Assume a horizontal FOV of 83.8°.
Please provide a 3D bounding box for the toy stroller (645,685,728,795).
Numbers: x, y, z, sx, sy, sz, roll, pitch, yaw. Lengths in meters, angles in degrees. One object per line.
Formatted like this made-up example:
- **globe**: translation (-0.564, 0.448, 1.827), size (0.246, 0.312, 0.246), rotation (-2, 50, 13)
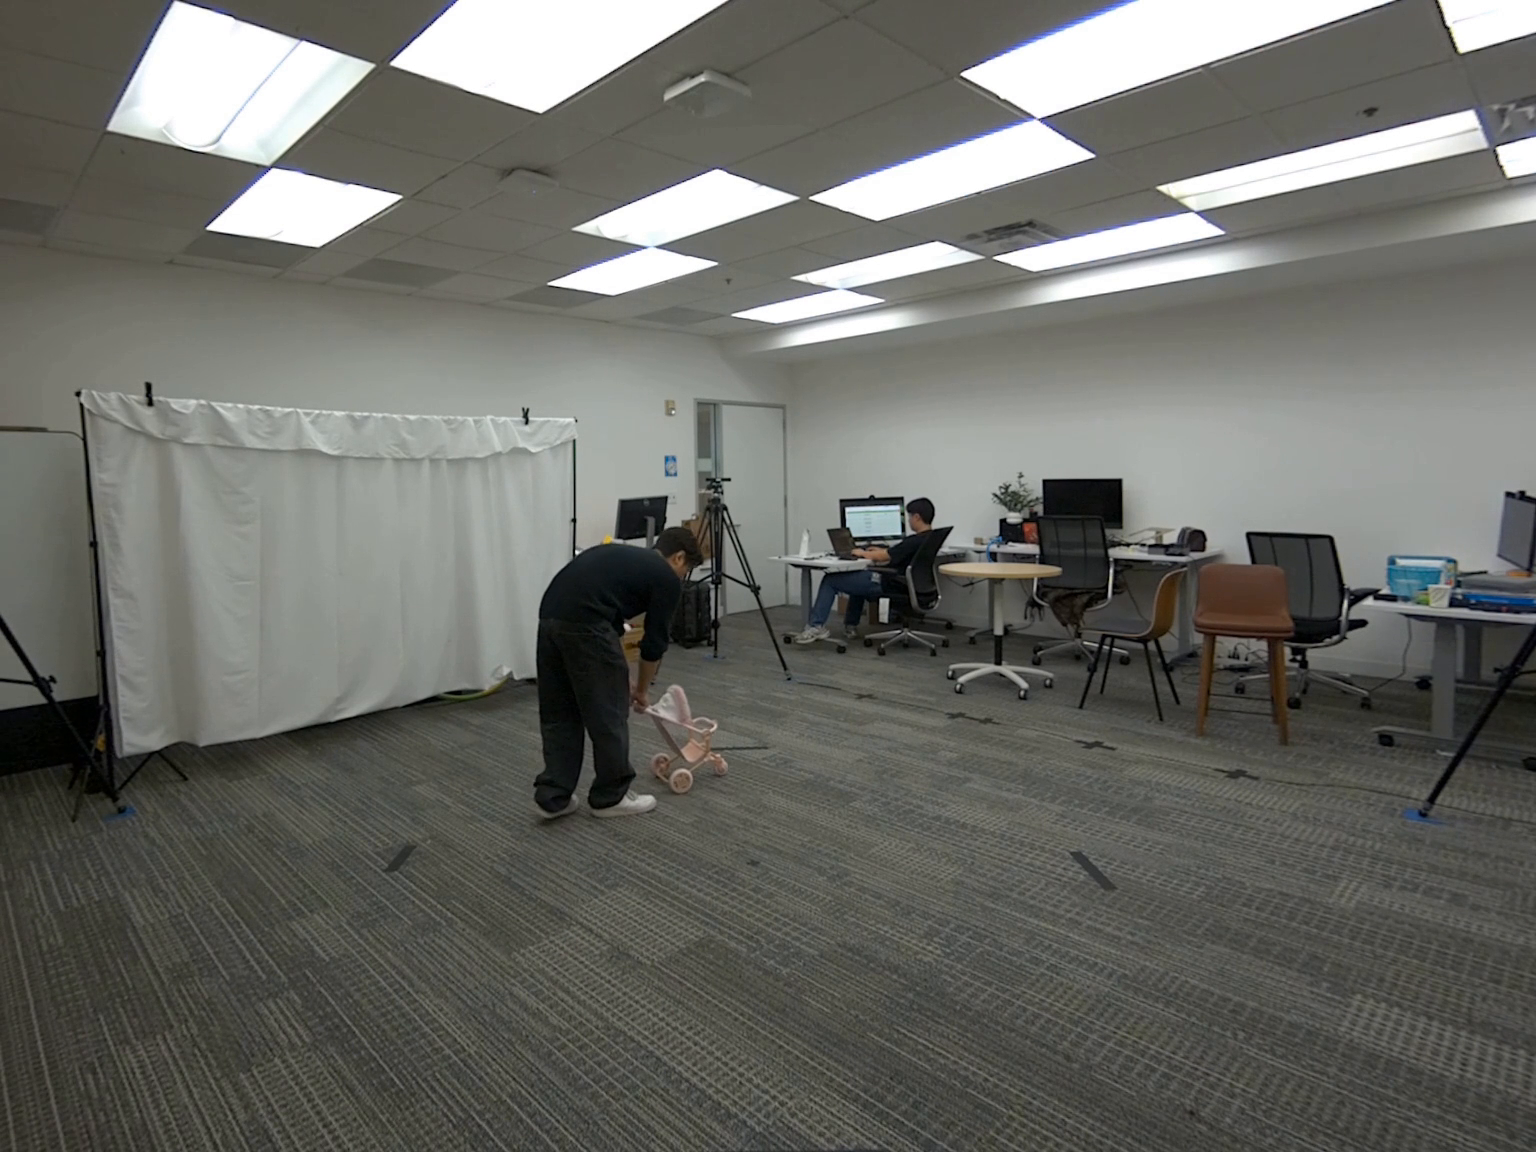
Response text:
- **toy stroller**: translation (-0.399, 0.735, 3.937), size (0.338, 0.528, 0.288), rotation (-22, 12, -20)
